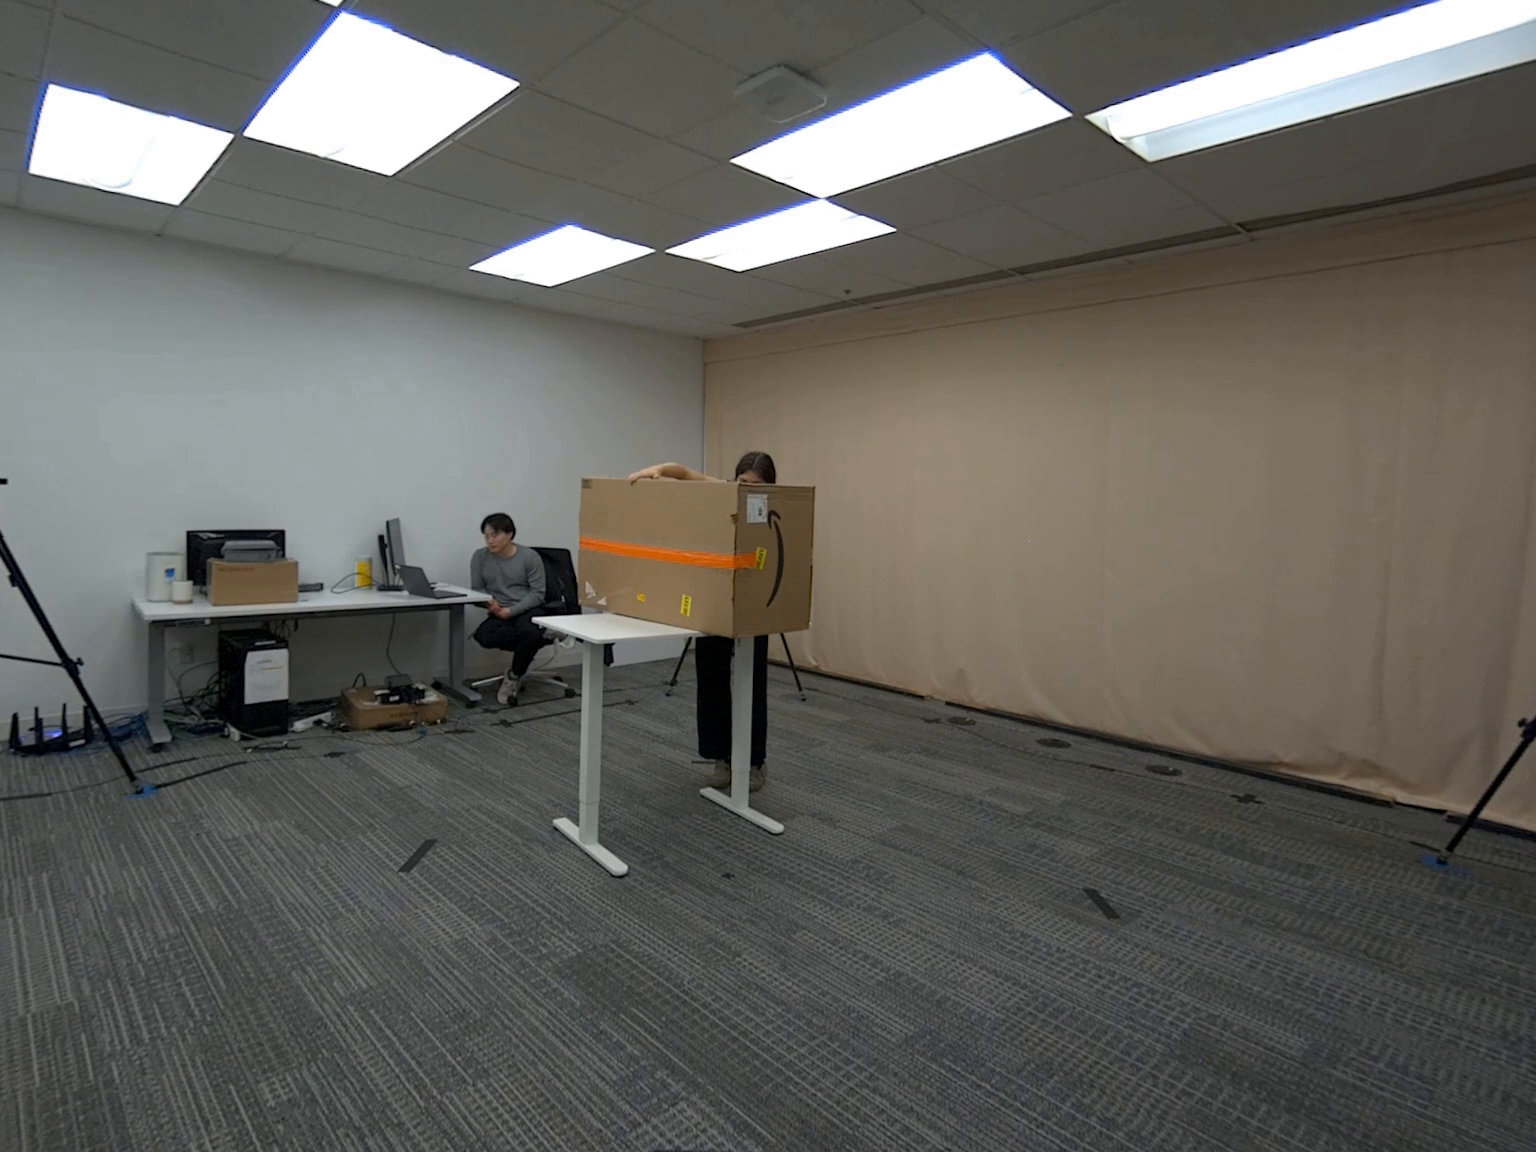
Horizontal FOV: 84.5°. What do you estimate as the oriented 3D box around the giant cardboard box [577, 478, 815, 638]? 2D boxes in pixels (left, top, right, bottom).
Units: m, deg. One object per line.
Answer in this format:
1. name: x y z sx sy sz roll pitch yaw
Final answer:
1. giant cardboard box: -0.344 -0.115 3.558 0.416 0.576 1.053 -2 7 -45
